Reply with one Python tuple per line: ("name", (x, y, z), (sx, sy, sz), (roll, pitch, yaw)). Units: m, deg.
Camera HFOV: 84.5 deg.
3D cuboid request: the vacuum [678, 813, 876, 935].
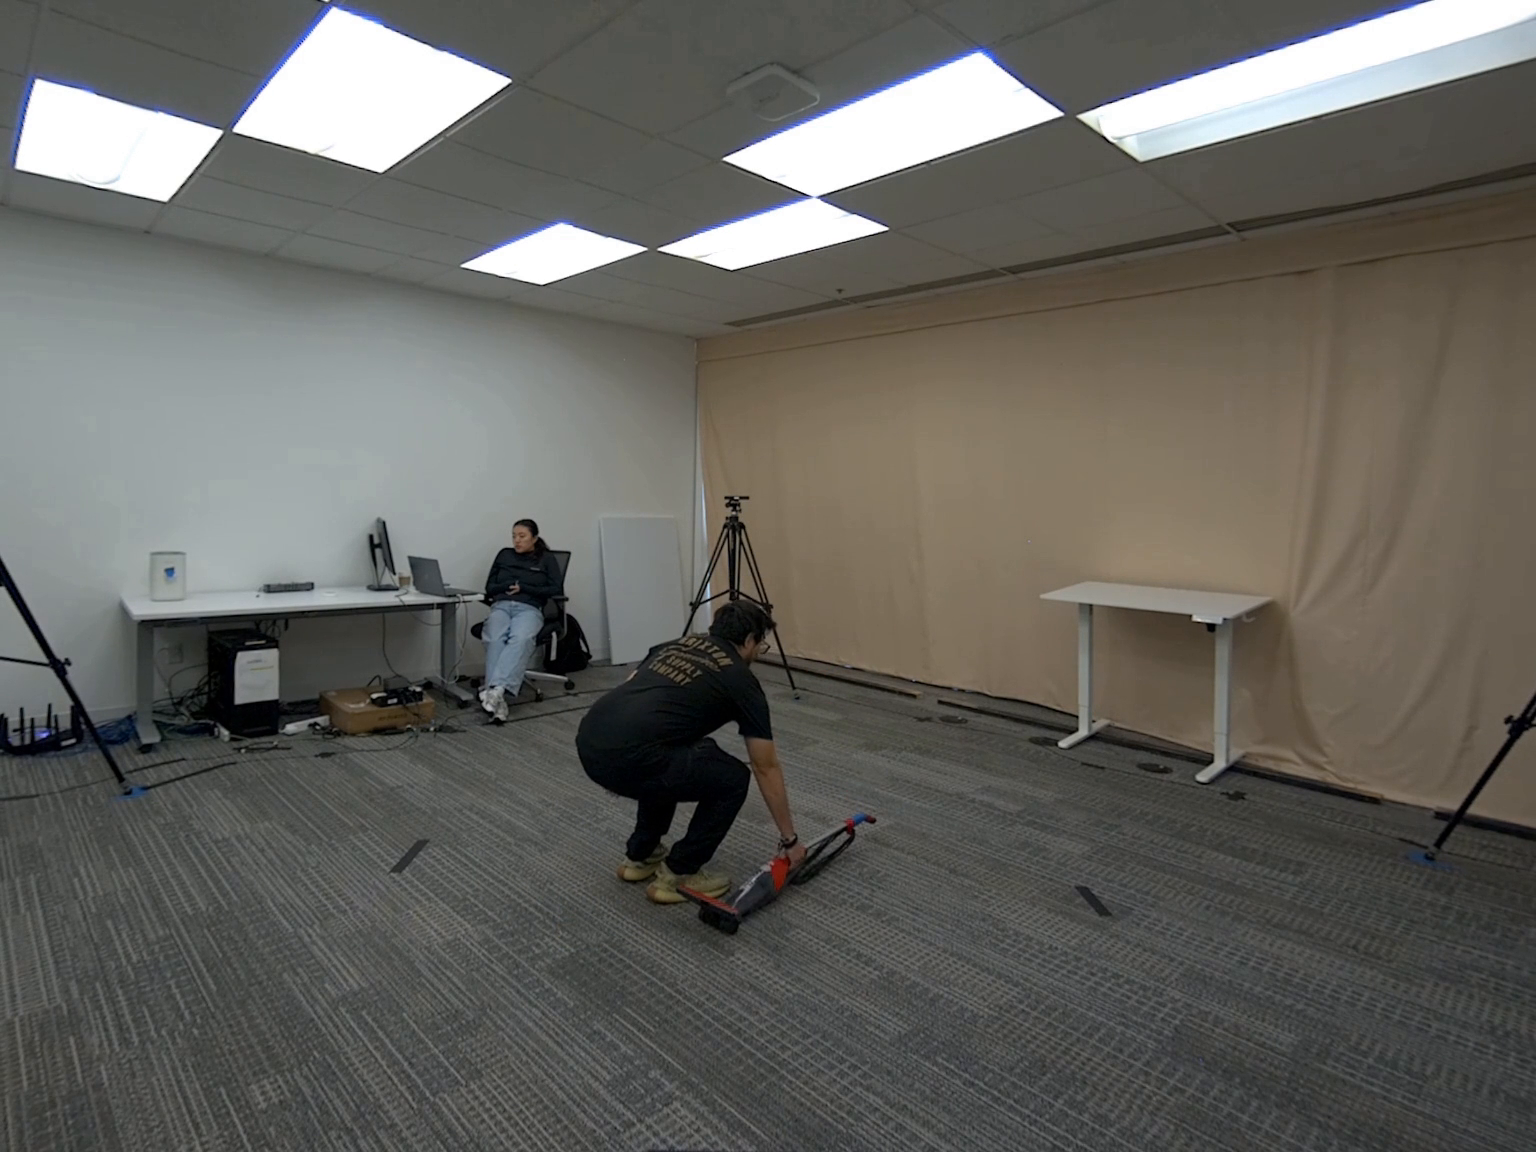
("vacuum", (0.125, 1.050, 3.096), (0.259, 0.143, 1.026), (6, 6, 37))
